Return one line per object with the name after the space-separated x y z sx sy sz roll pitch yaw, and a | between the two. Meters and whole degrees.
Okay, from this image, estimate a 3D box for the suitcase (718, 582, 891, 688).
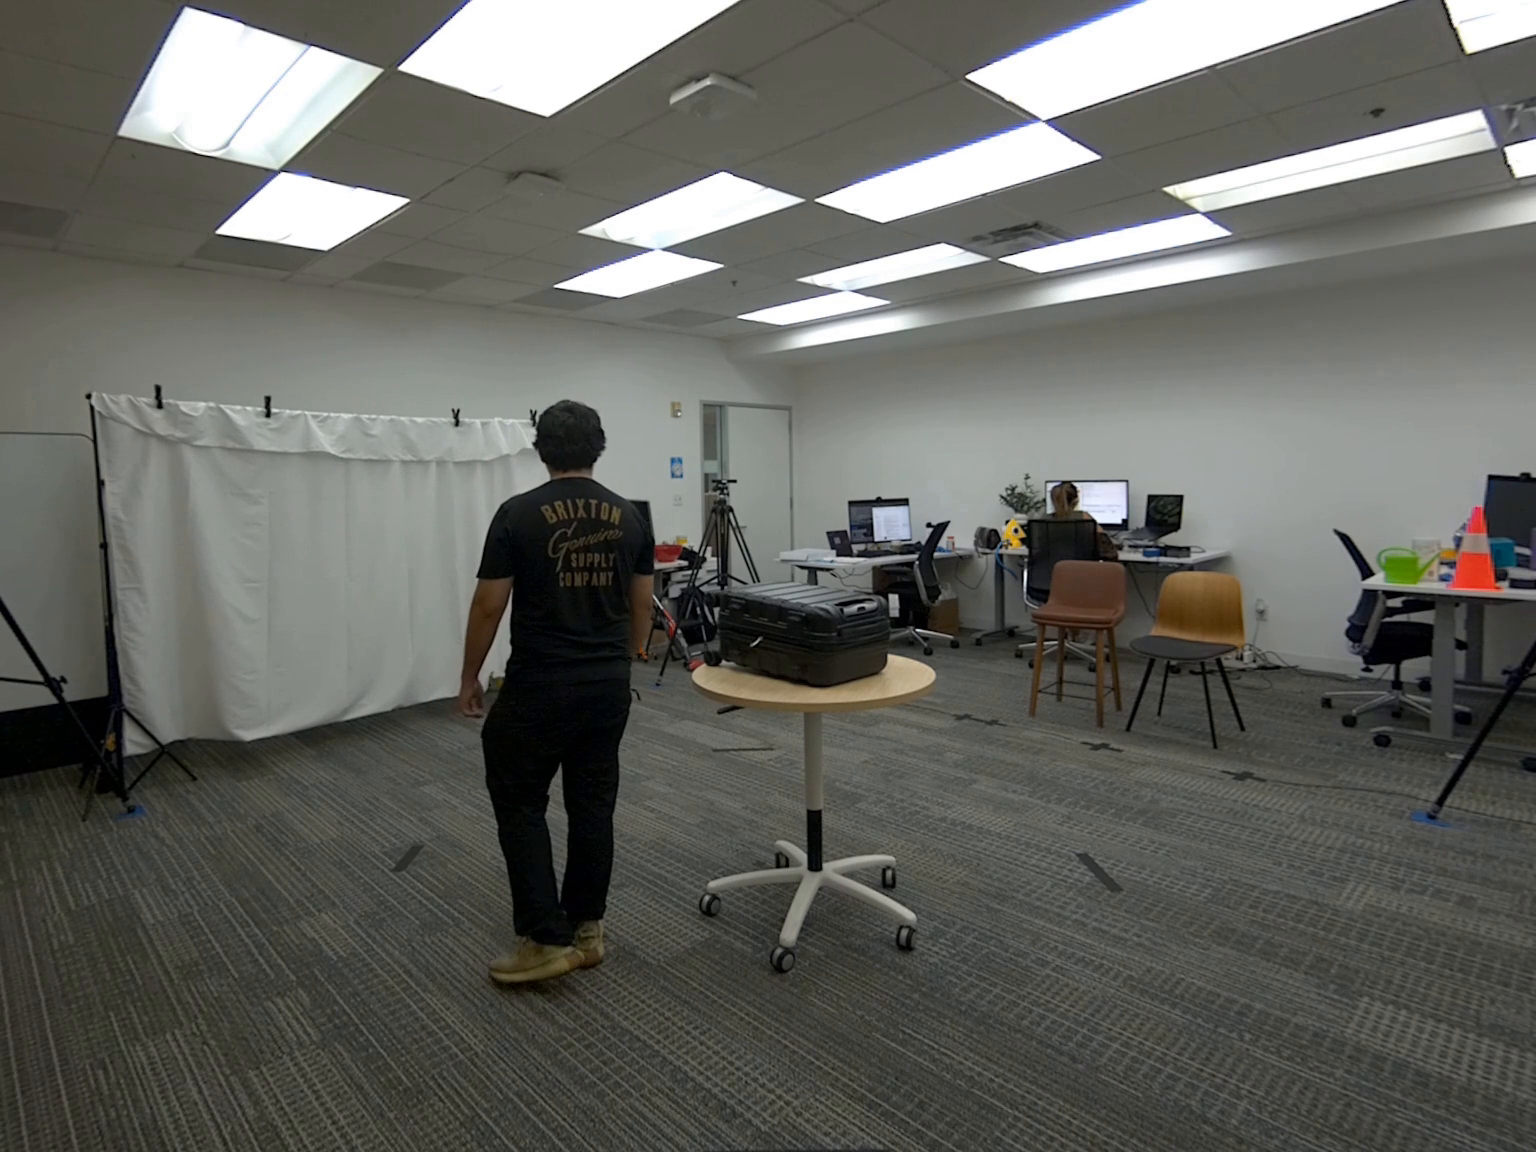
0.106 0.177 2.757 0.567 0.247 0.365 7 9 44 | suitcase
